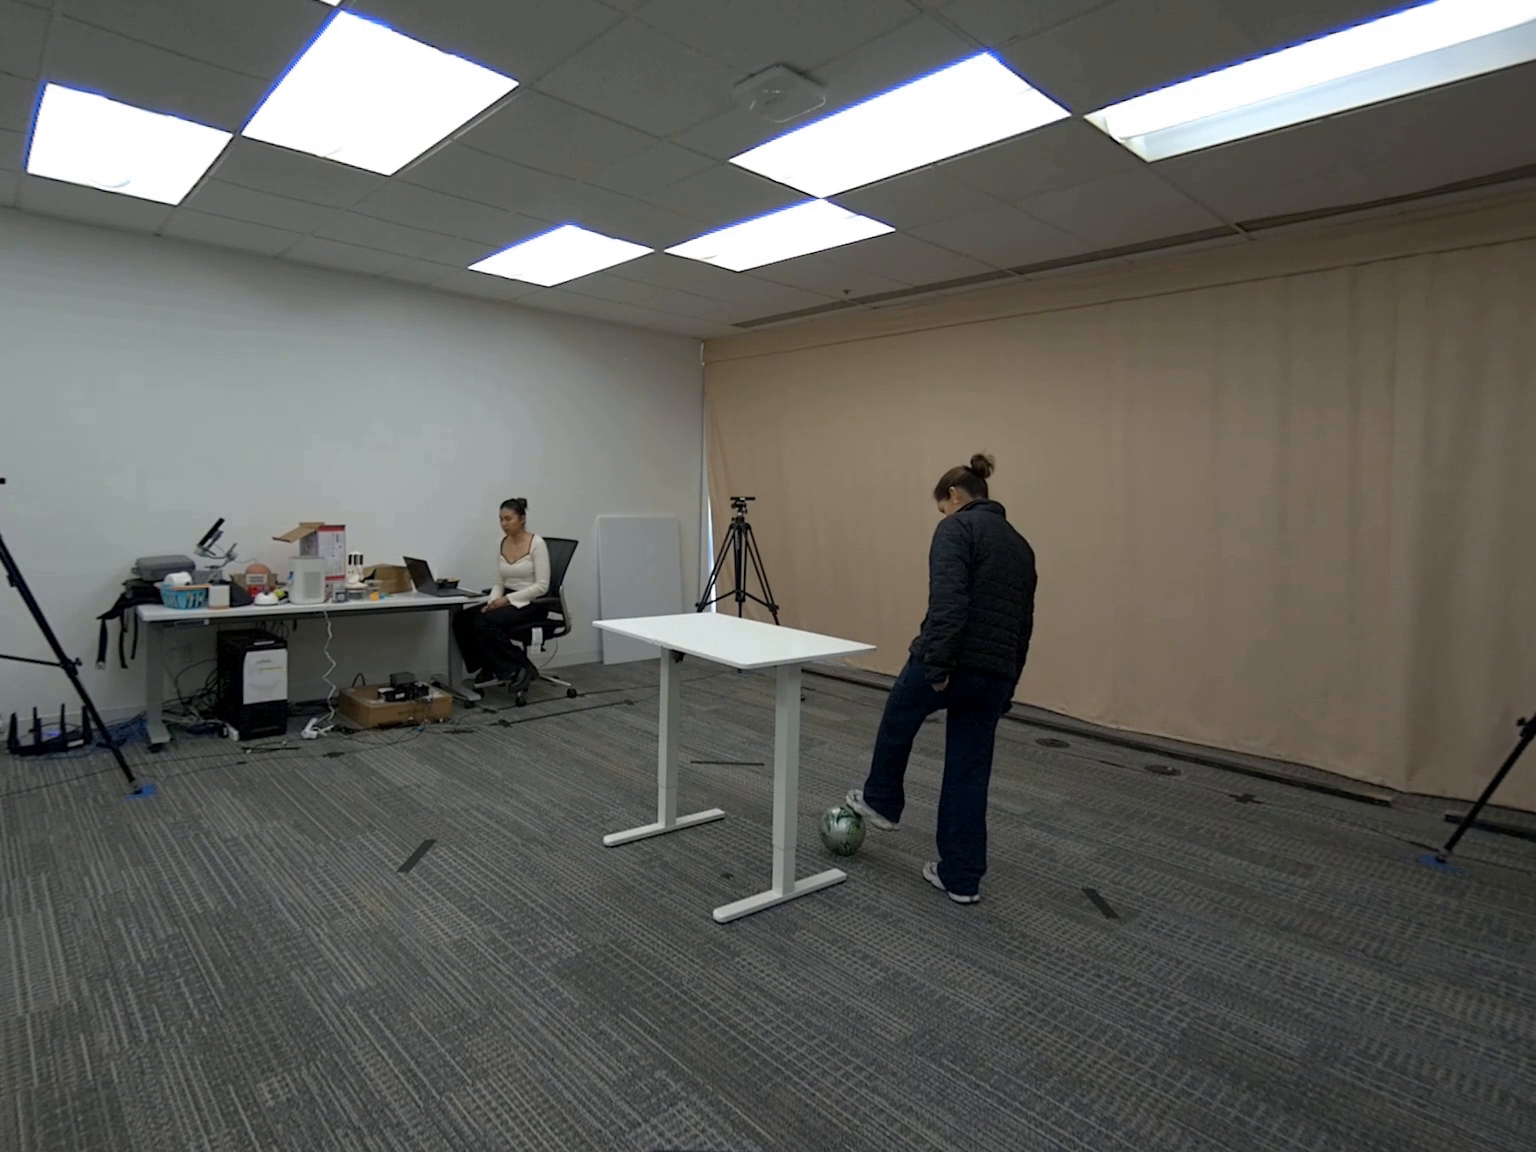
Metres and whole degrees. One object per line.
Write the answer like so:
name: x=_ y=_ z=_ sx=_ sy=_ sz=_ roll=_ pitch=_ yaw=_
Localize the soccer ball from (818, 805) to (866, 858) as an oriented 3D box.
soccer ball: x=0.284 y=1.002 z=3.330 sx=0.187 sy=0.187 sz=0.188 roll=1 pitch=4 yaw=-1
